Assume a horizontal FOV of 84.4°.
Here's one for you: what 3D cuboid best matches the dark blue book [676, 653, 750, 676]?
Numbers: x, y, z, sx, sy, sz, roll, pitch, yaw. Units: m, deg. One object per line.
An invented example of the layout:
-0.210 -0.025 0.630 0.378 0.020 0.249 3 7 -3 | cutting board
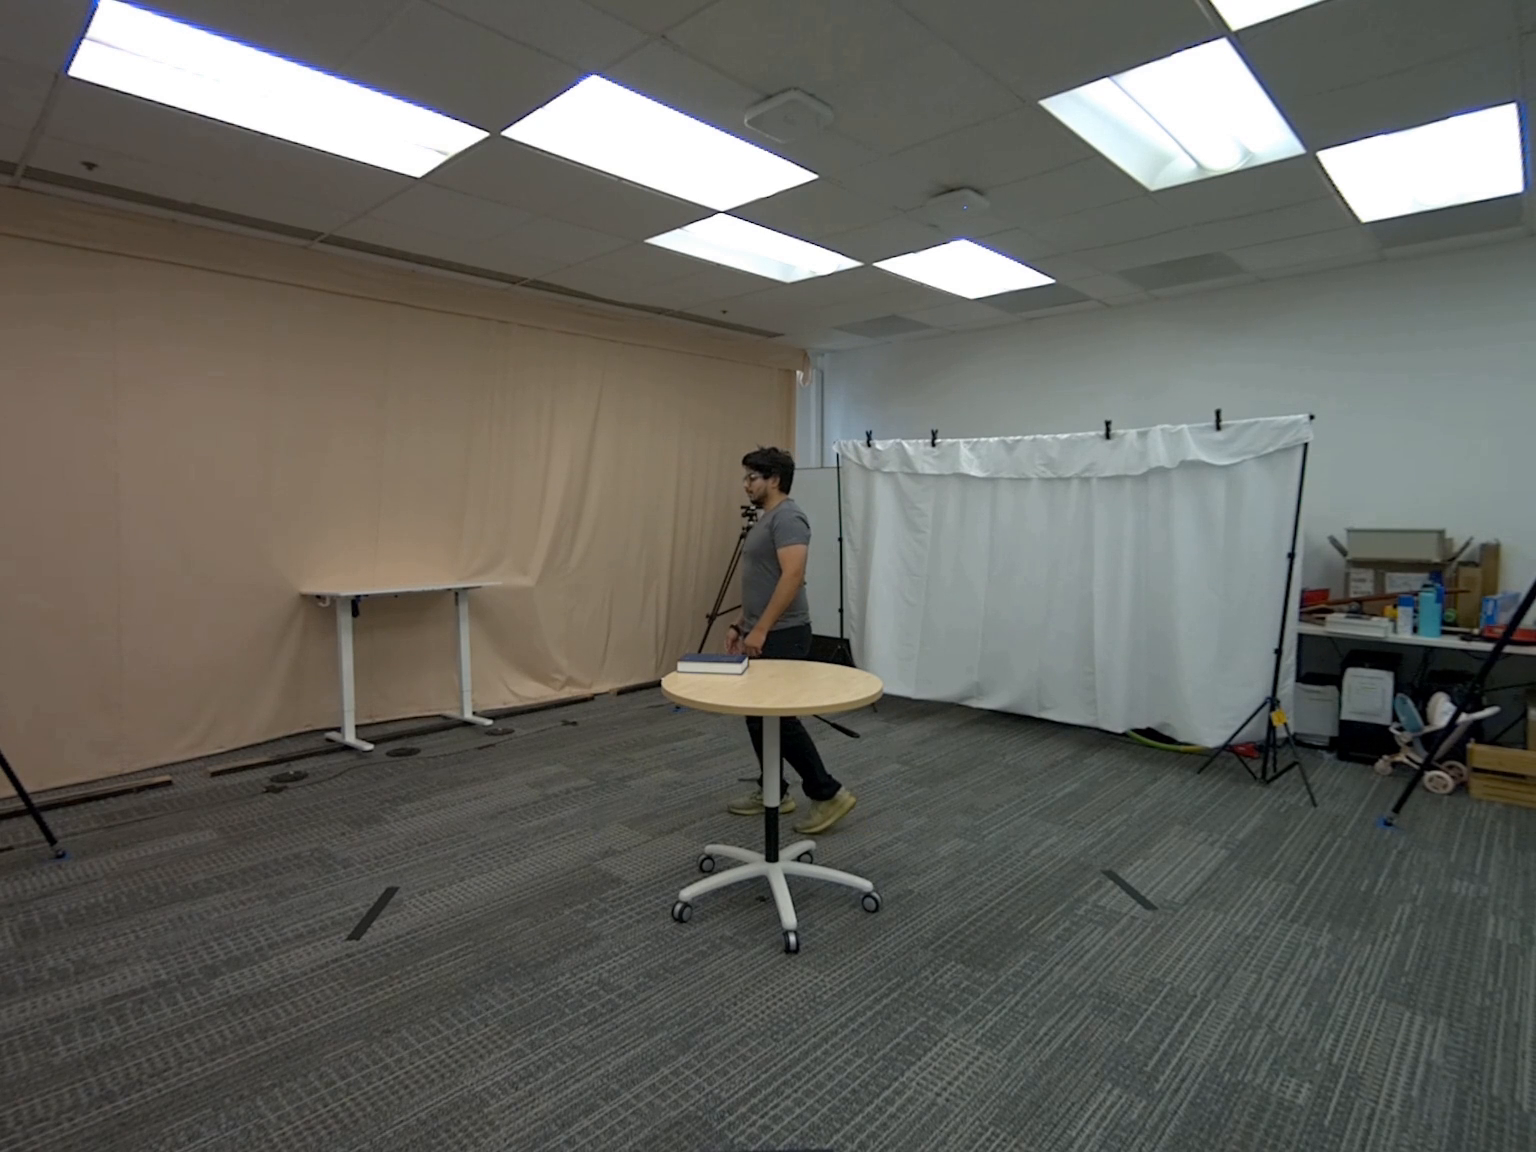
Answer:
-0.193 0.325 3.140 0.247 0.045 0.162 0 6 8 | dark blue book
